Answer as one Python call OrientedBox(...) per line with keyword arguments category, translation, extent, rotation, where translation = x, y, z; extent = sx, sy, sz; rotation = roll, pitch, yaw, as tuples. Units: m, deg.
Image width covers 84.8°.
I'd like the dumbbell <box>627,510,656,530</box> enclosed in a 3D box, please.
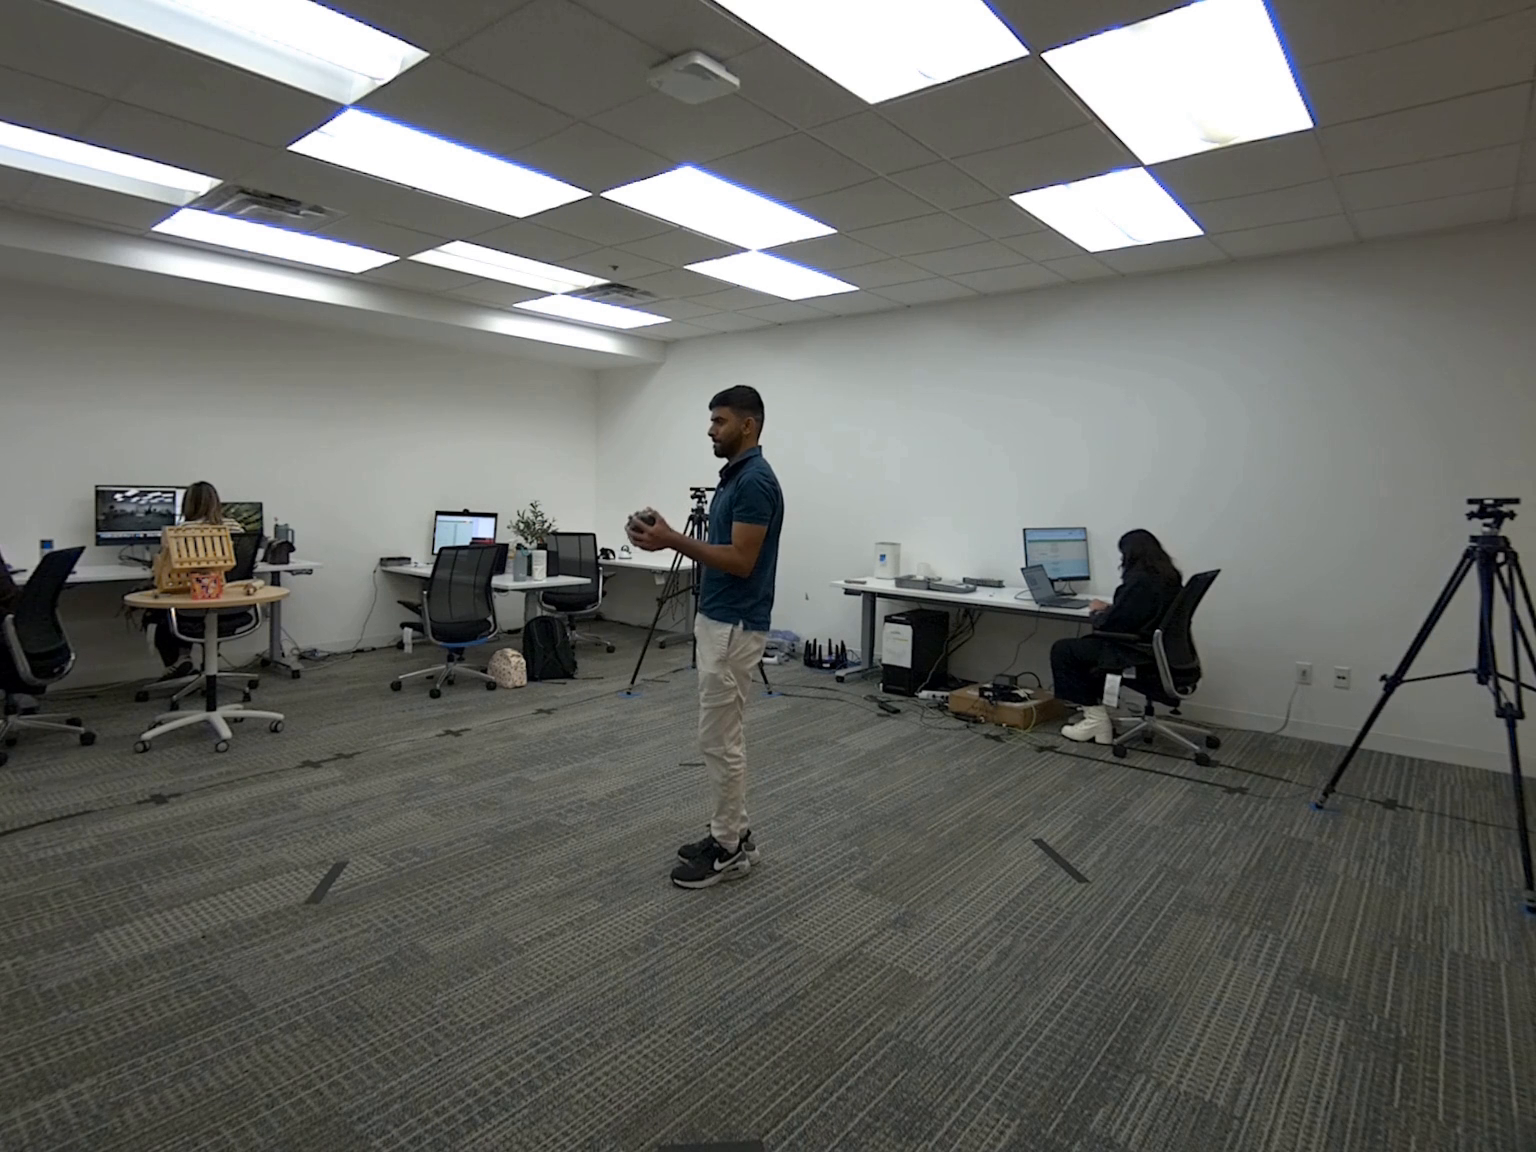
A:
OrientedBox(category="dumbbell", translation=(-0.419, -0.170, 3.044), extent=(0.107, 0.123, 0.297), rotation=(35, 1, -9))
